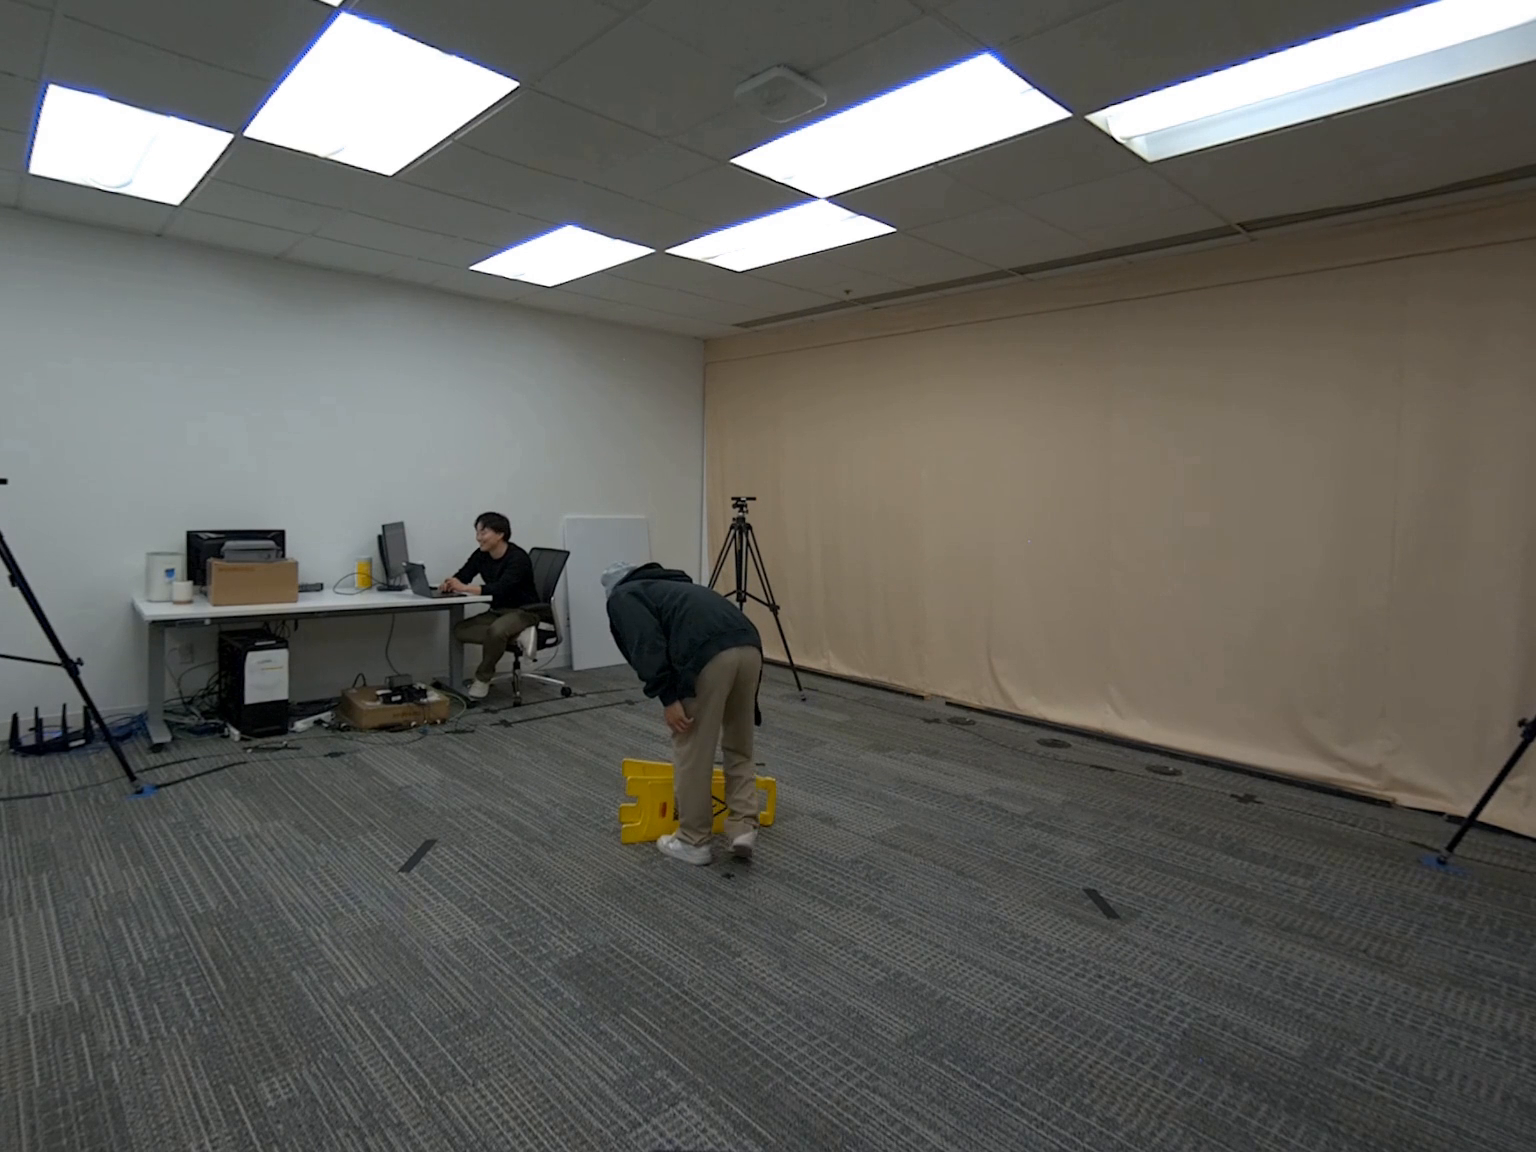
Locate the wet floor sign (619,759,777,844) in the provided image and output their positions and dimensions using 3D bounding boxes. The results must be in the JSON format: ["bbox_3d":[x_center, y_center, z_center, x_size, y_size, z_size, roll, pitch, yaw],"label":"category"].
[{"bbox_3d":[-0.300,0.938,3.543,0.640,0.281,0.293,4,5,-11],"label":"wet floor sign"}]
